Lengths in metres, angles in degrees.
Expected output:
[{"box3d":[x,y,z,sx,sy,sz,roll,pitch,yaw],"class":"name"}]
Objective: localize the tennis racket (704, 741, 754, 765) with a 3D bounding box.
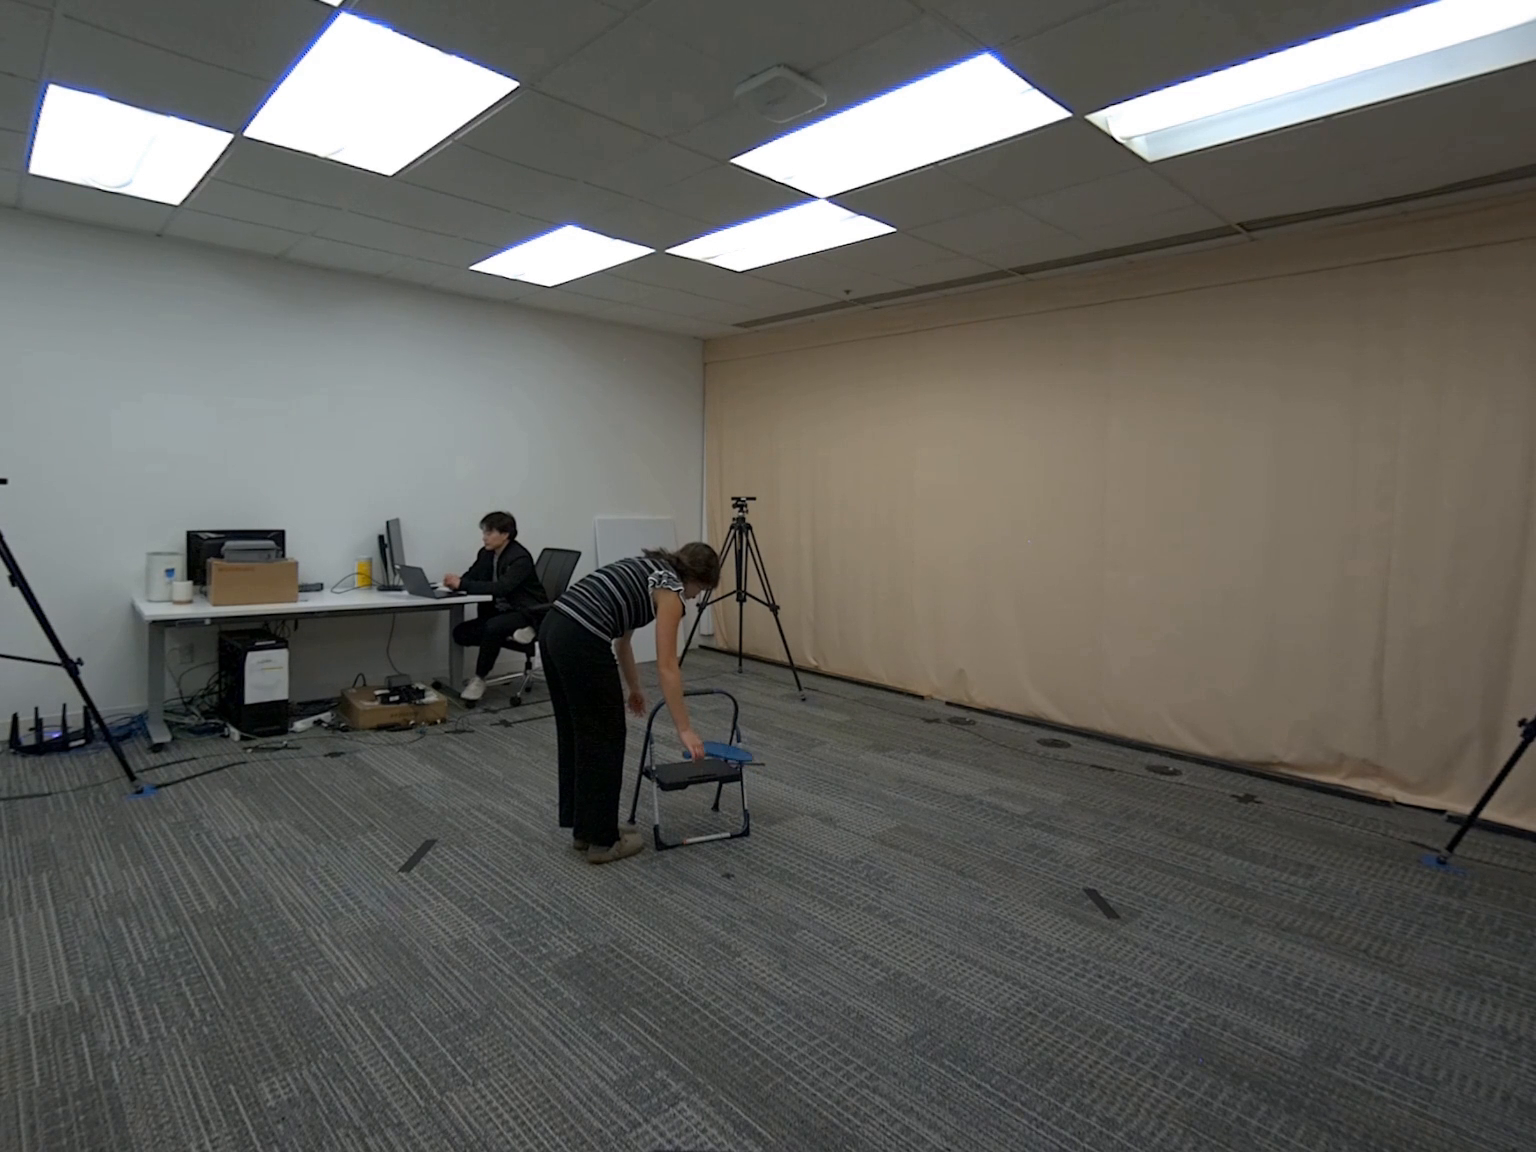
[{"box3d":[-0.220,0.683,3.309,0.219,0.032,0.421,15,-1,34],"class":"tennis racket"}]
